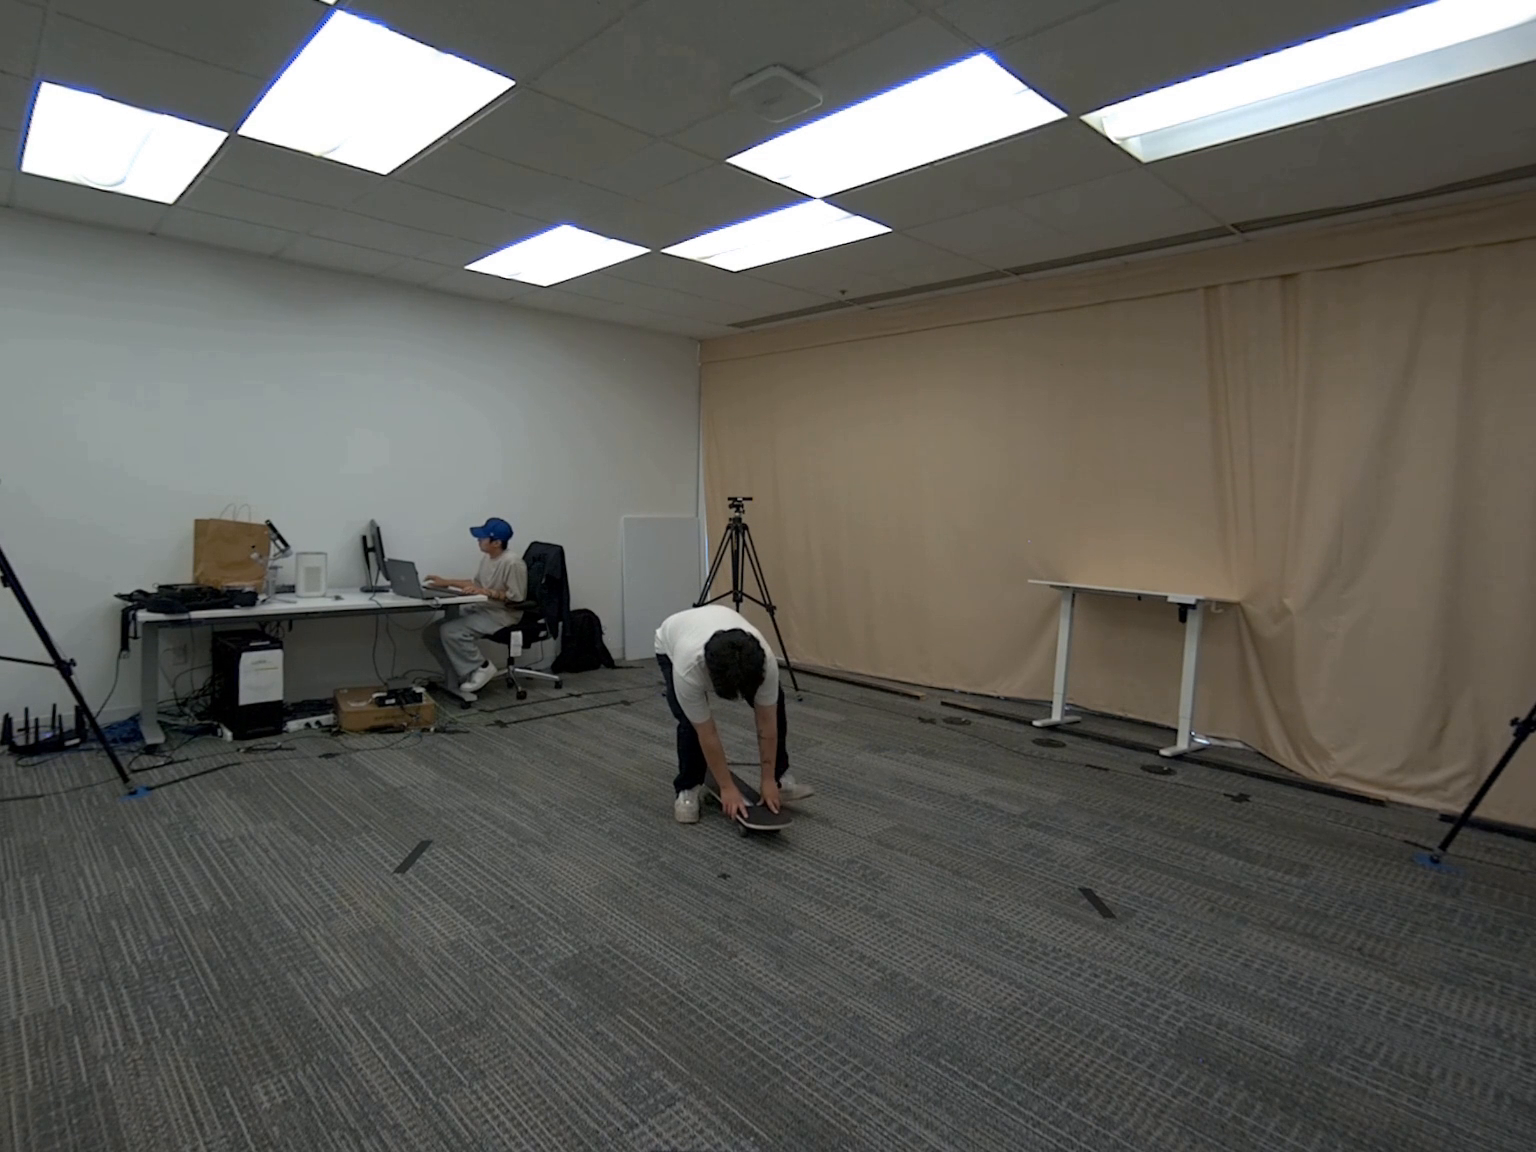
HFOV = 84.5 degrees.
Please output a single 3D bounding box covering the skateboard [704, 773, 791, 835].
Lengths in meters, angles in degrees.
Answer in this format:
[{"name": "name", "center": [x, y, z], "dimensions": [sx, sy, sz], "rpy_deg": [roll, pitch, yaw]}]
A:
[{"name": "skateboard", "center": [-0.135, 1.008, 3.687], "dimensions": [0.190, 0.110, 0.801], "rpy_deg": [0, 5, -23]}]
